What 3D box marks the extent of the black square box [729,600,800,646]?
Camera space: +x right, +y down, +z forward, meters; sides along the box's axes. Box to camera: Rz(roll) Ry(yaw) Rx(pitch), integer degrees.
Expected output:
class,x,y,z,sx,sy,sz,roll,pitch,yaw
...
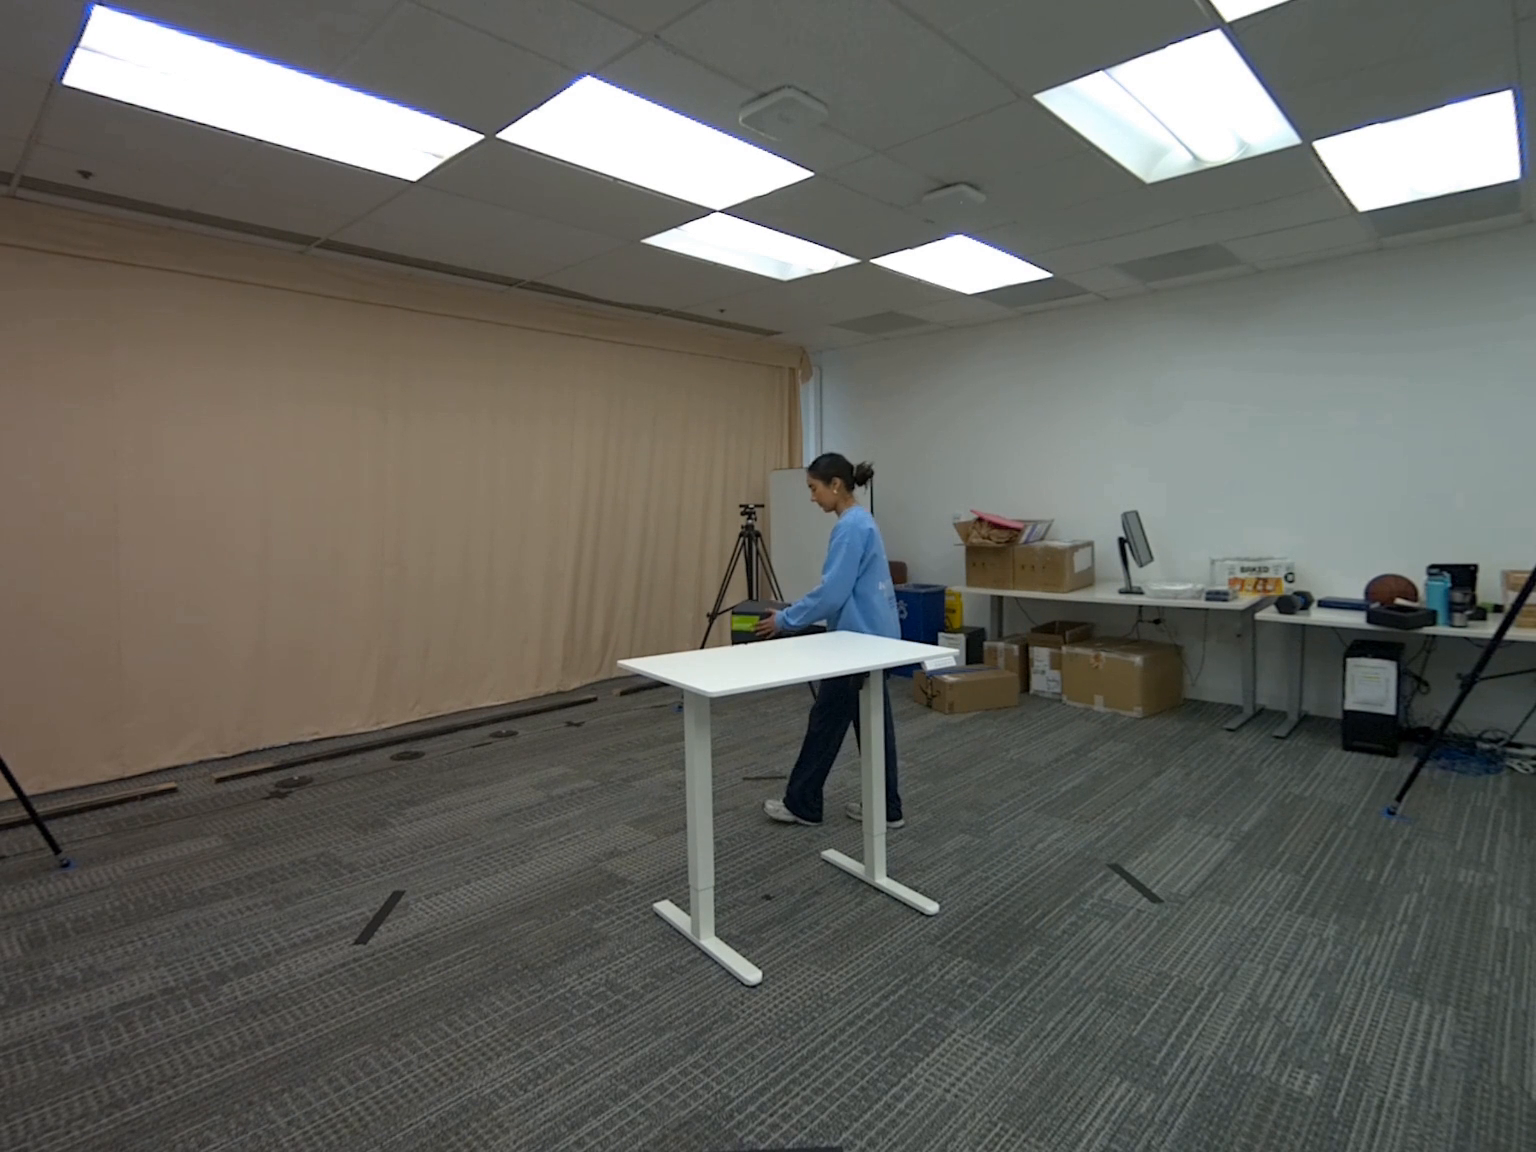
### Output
class,x,y,z,sx,sy,sz,roll,pitch,yaw
black square box,-0.027,0.212,3.765,0.231,0.155,0.215,2,10,14
